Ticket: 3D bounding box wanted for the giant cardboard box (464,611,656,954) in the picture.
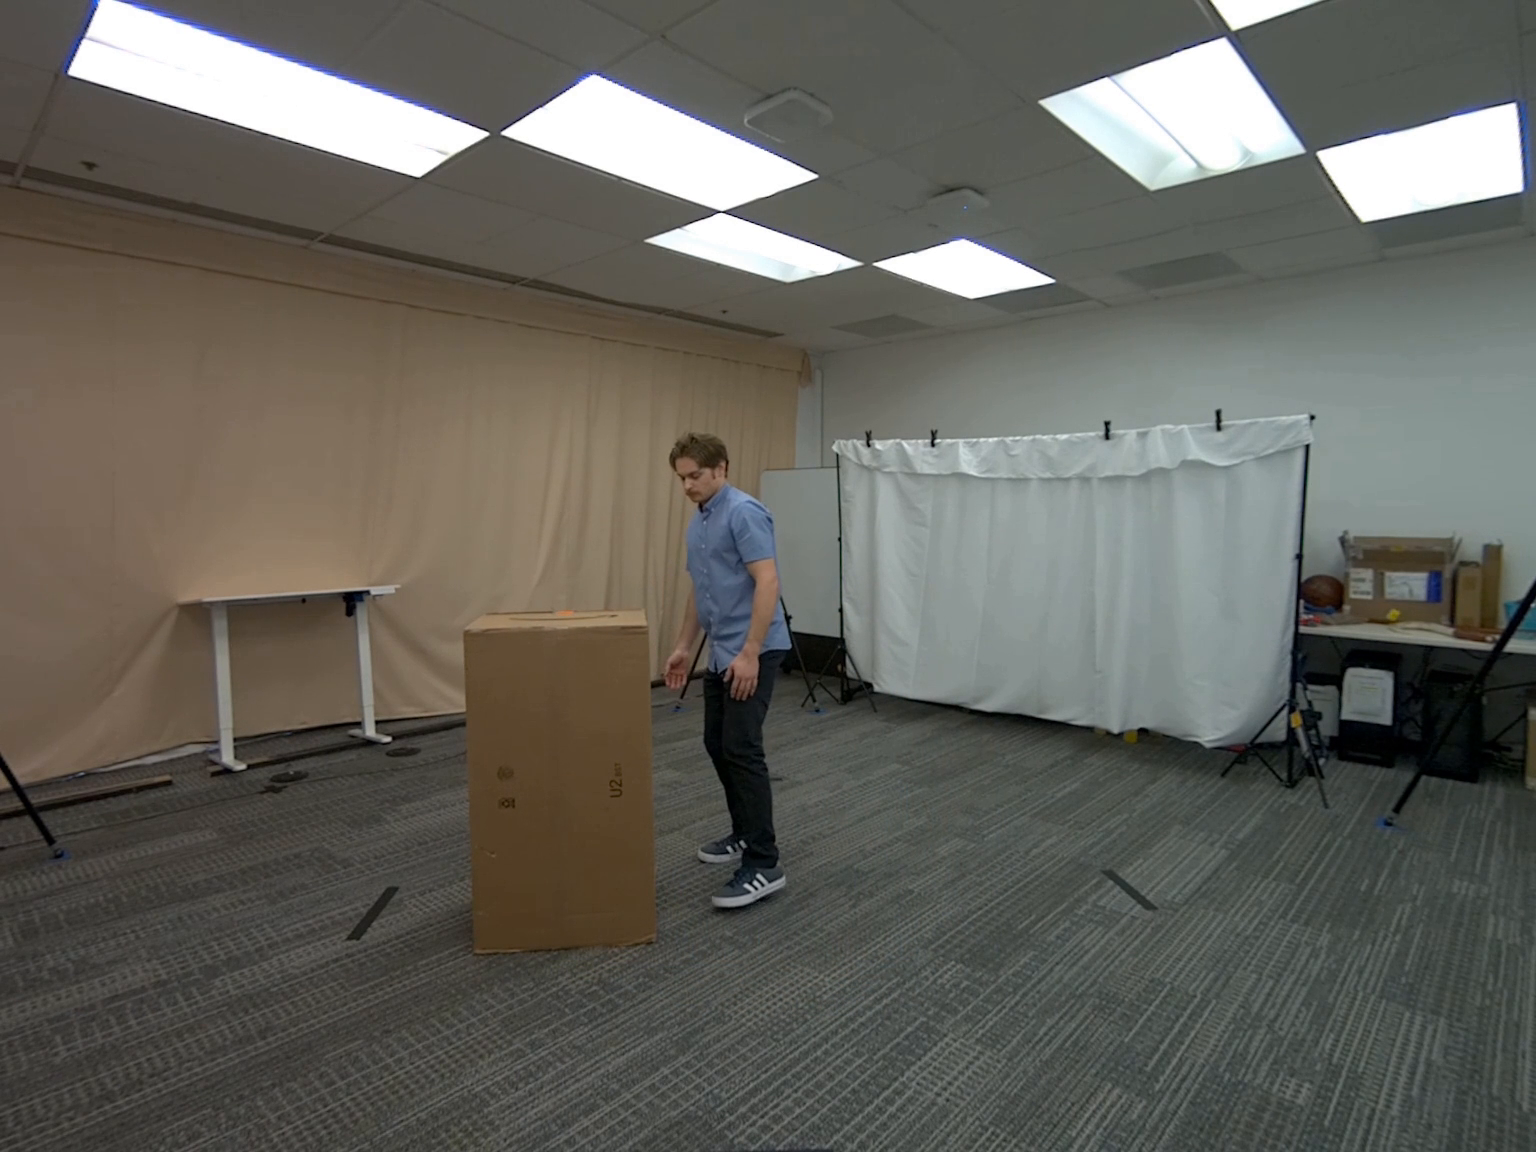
[{"bbox_3d":[-0.685,0.655,2.835,0.574,1.024,0.430,-1,3,-7],"label":"giant cardboard box"}]
